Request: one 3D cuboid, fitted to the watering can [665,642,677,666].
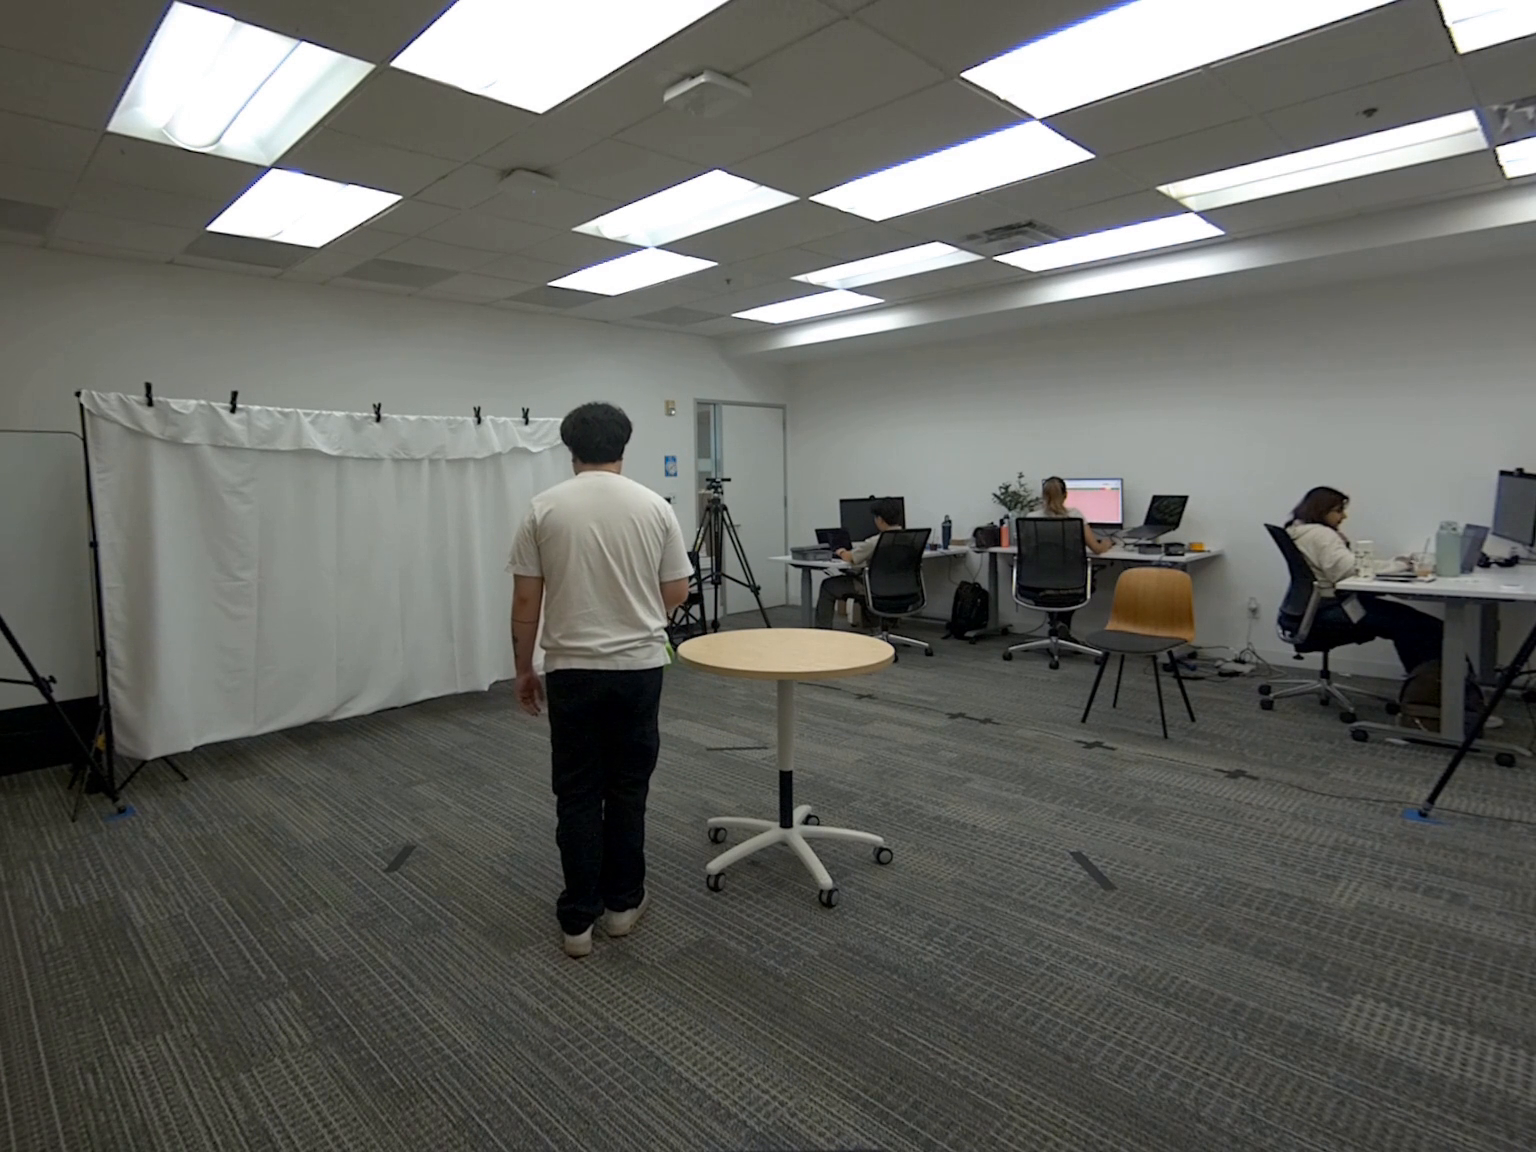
[{"bbox_3d":[-0.388,0.269,2.938,0.096,0.271,0.183,-9,41,-18],"label":"watering can"}]
